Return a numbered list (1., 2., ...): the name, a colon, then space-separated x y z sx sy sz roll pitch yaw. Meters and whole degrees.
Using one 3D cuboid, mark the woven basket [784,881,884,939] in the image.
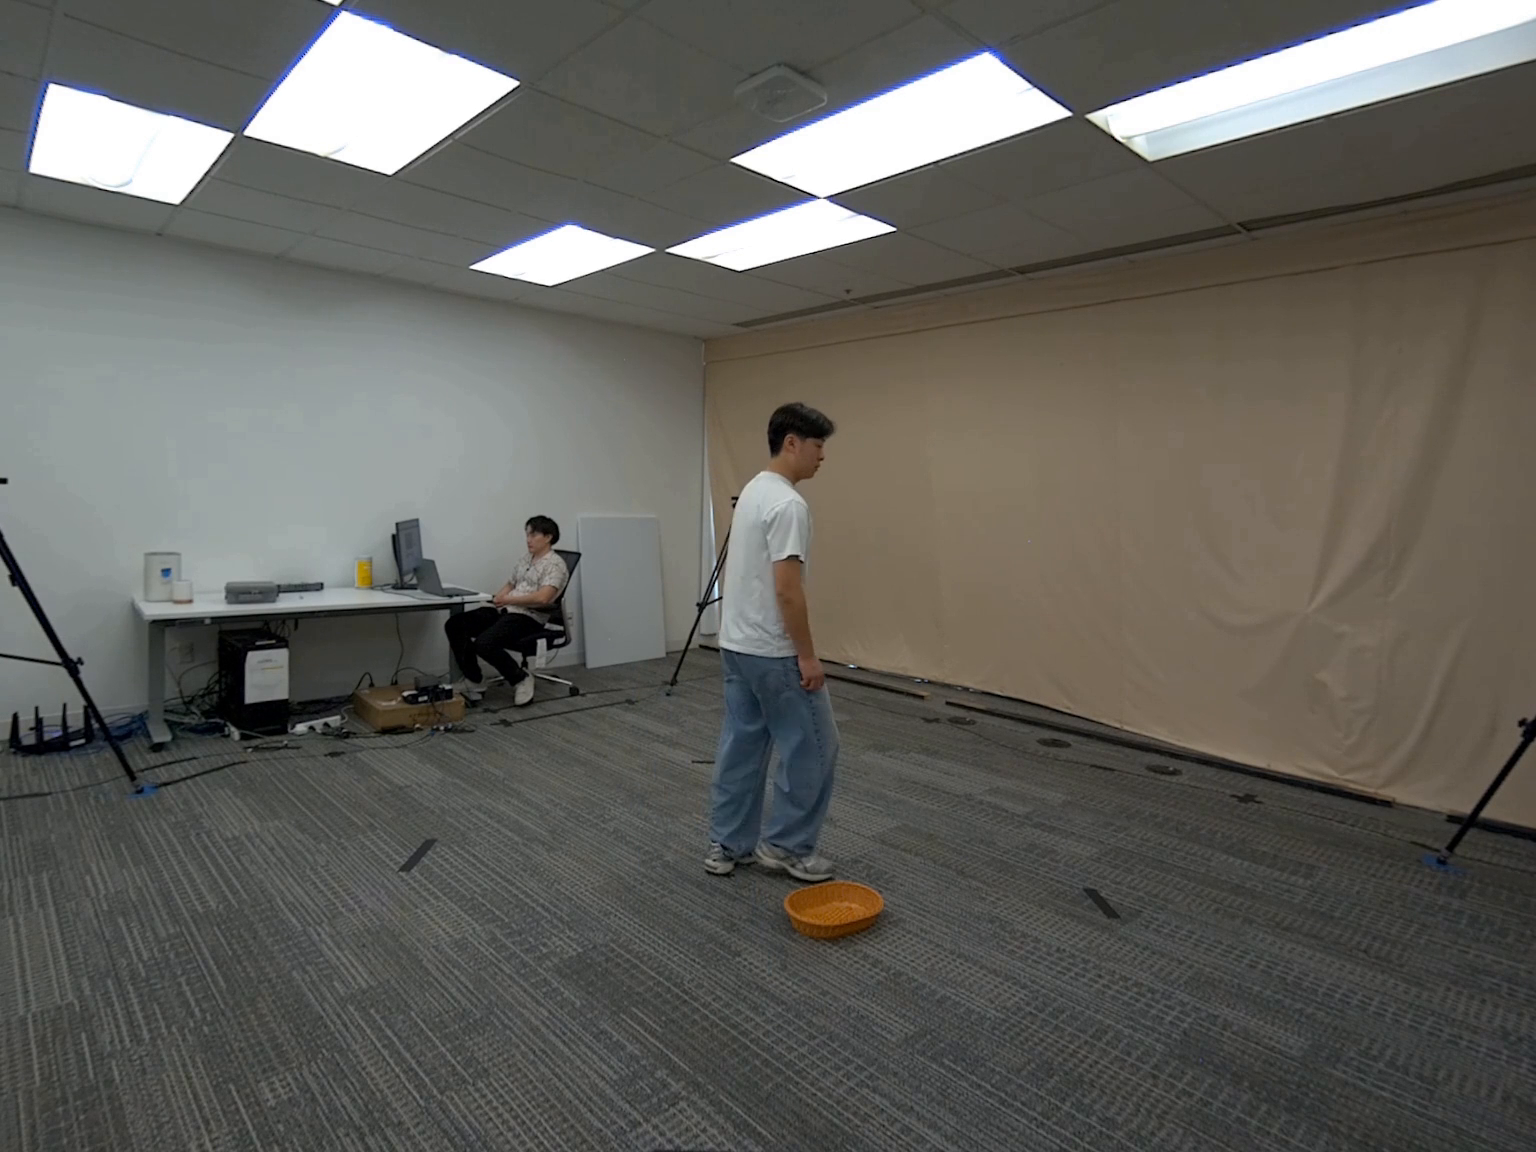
1. woven basket: 0.206 1.109 2.781 0.343 0.073 0.258 -2 6 -29
